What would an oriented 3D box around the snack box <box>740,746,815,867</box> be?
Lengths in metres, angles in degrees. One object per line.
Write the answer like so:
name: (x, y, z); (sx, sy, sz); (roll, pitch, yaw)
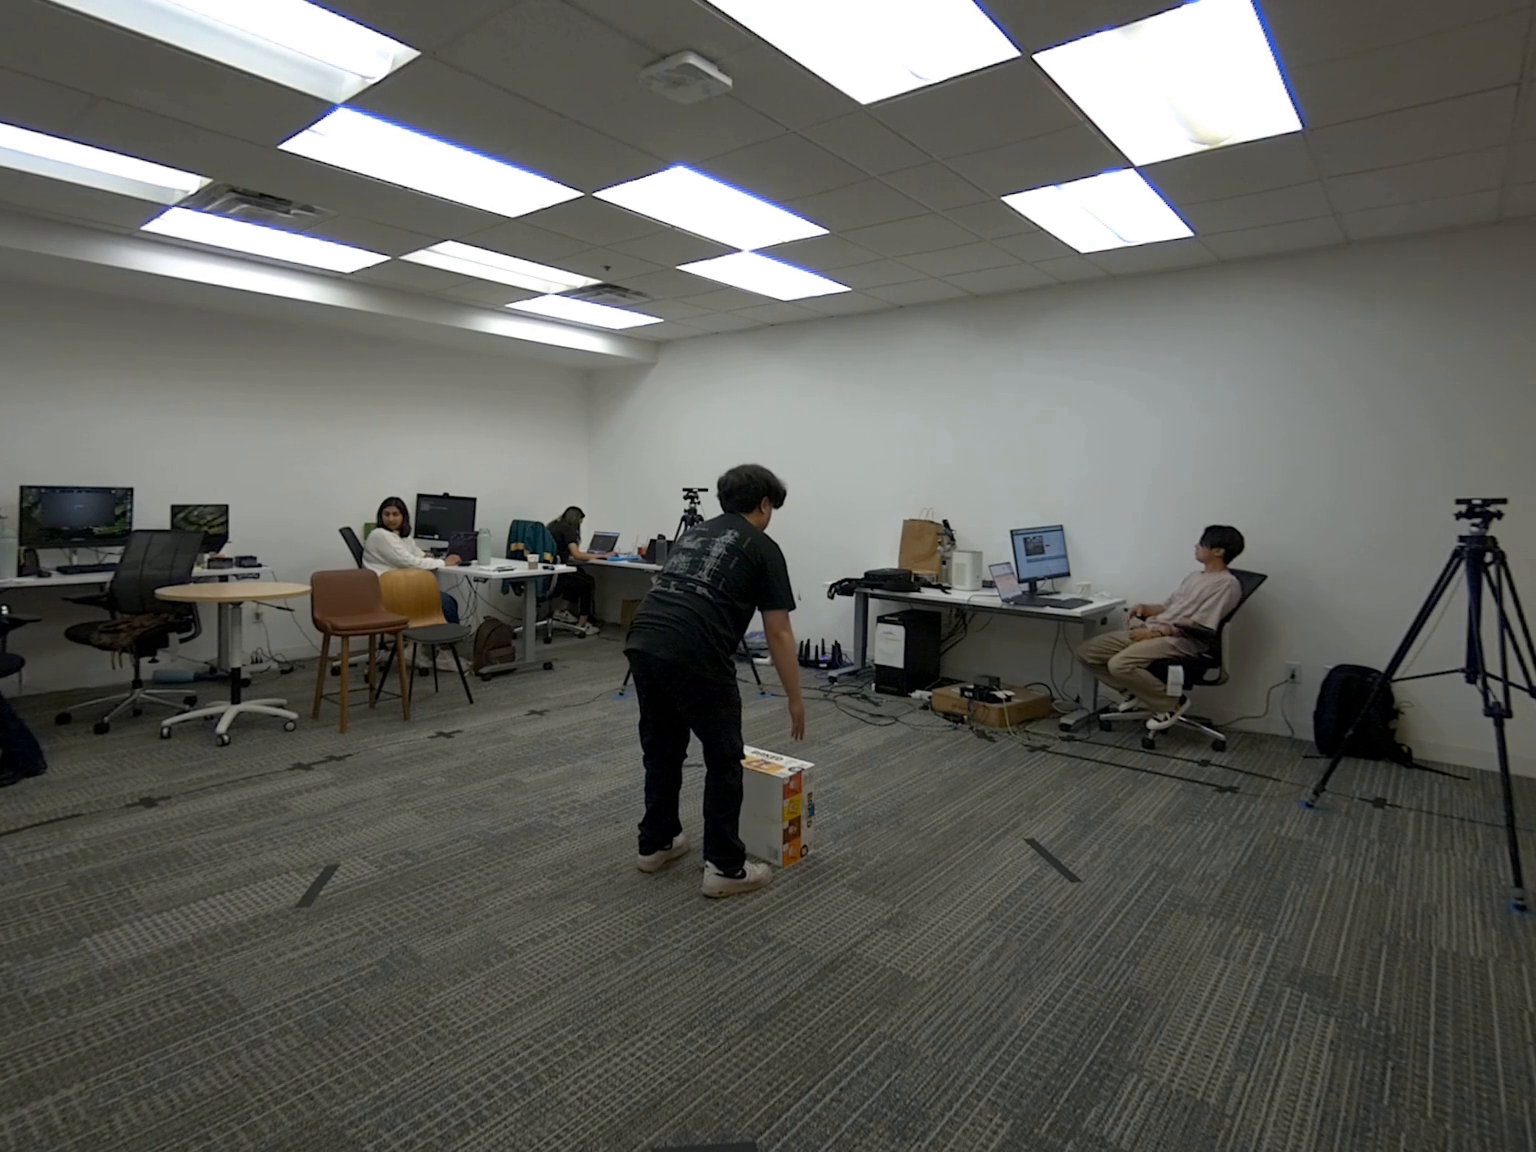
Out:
snack box: (-0.047, 0.881, 3.332); (0.419, 0.339, 0.199); (5, 5, 40)
